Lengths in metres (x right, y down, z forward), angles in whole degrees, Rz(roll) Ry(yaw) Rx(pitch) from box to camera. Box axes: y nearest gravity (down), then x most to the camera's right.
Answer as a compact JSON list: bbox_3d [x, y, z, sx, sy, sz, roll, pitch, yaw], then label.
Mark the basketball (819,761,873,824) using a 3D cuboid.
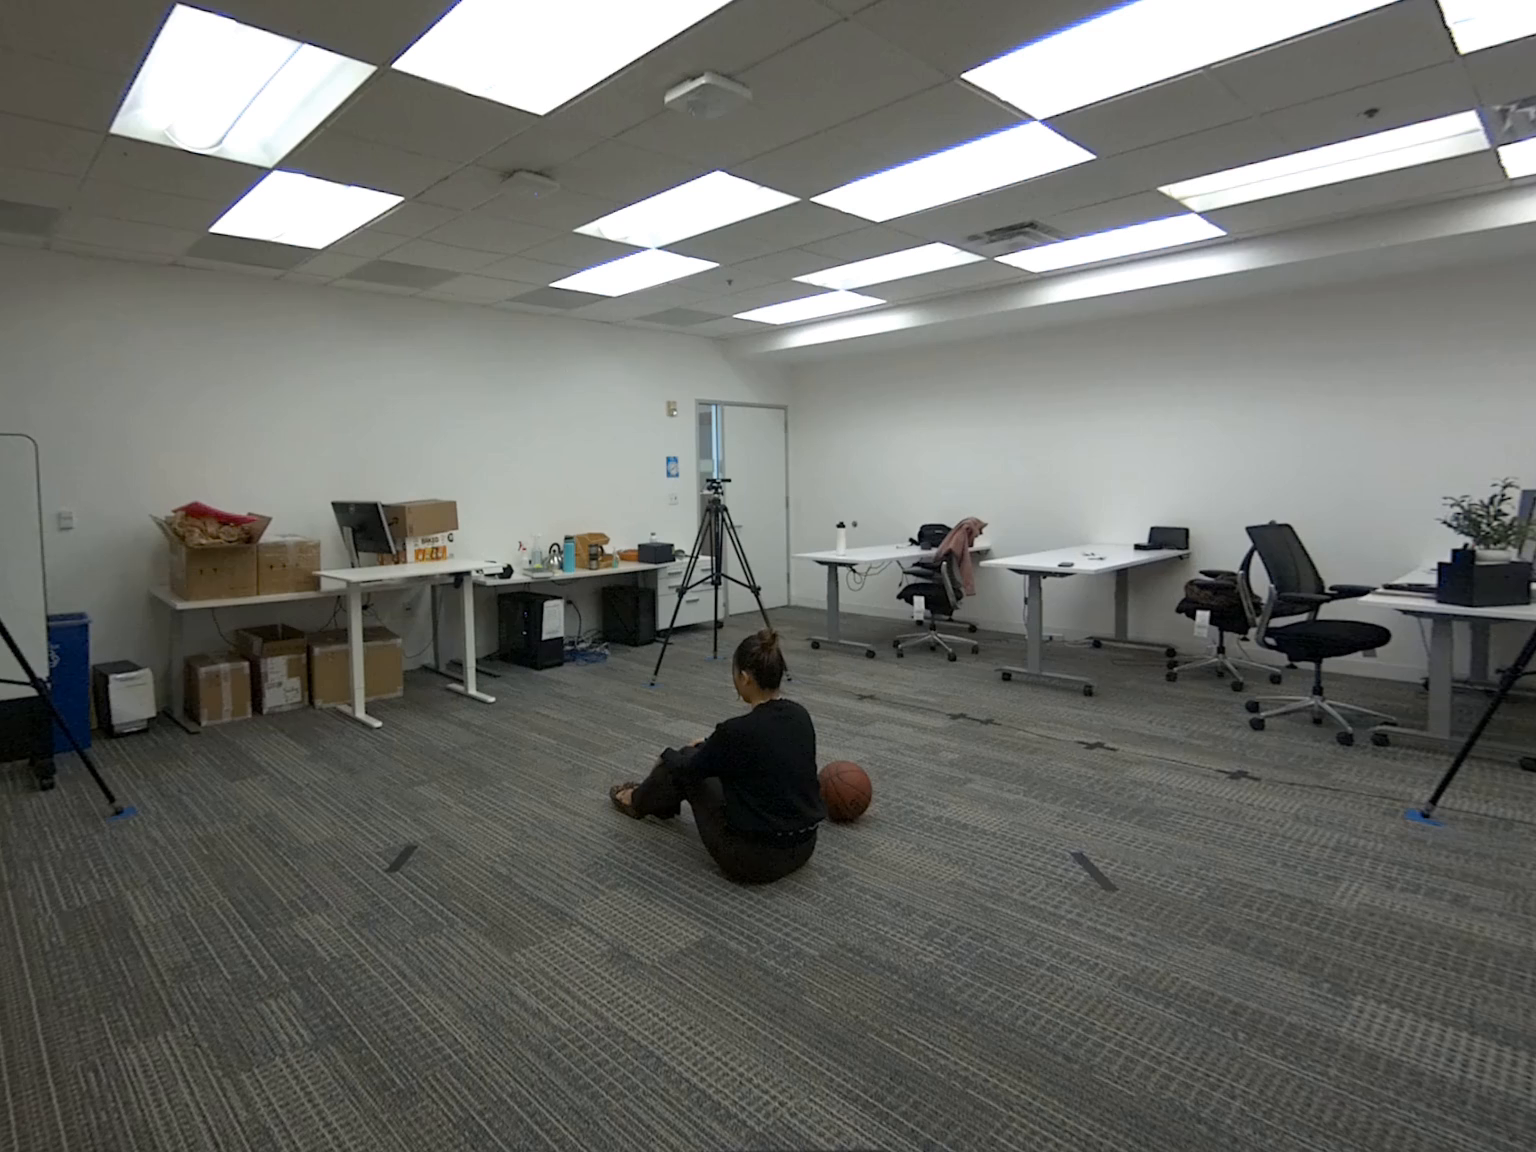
[{"bbox_3d":[0.310,0.875,3.501,0.236,0.235,0.237,-1,5,-2],"label":"basketball"}]
